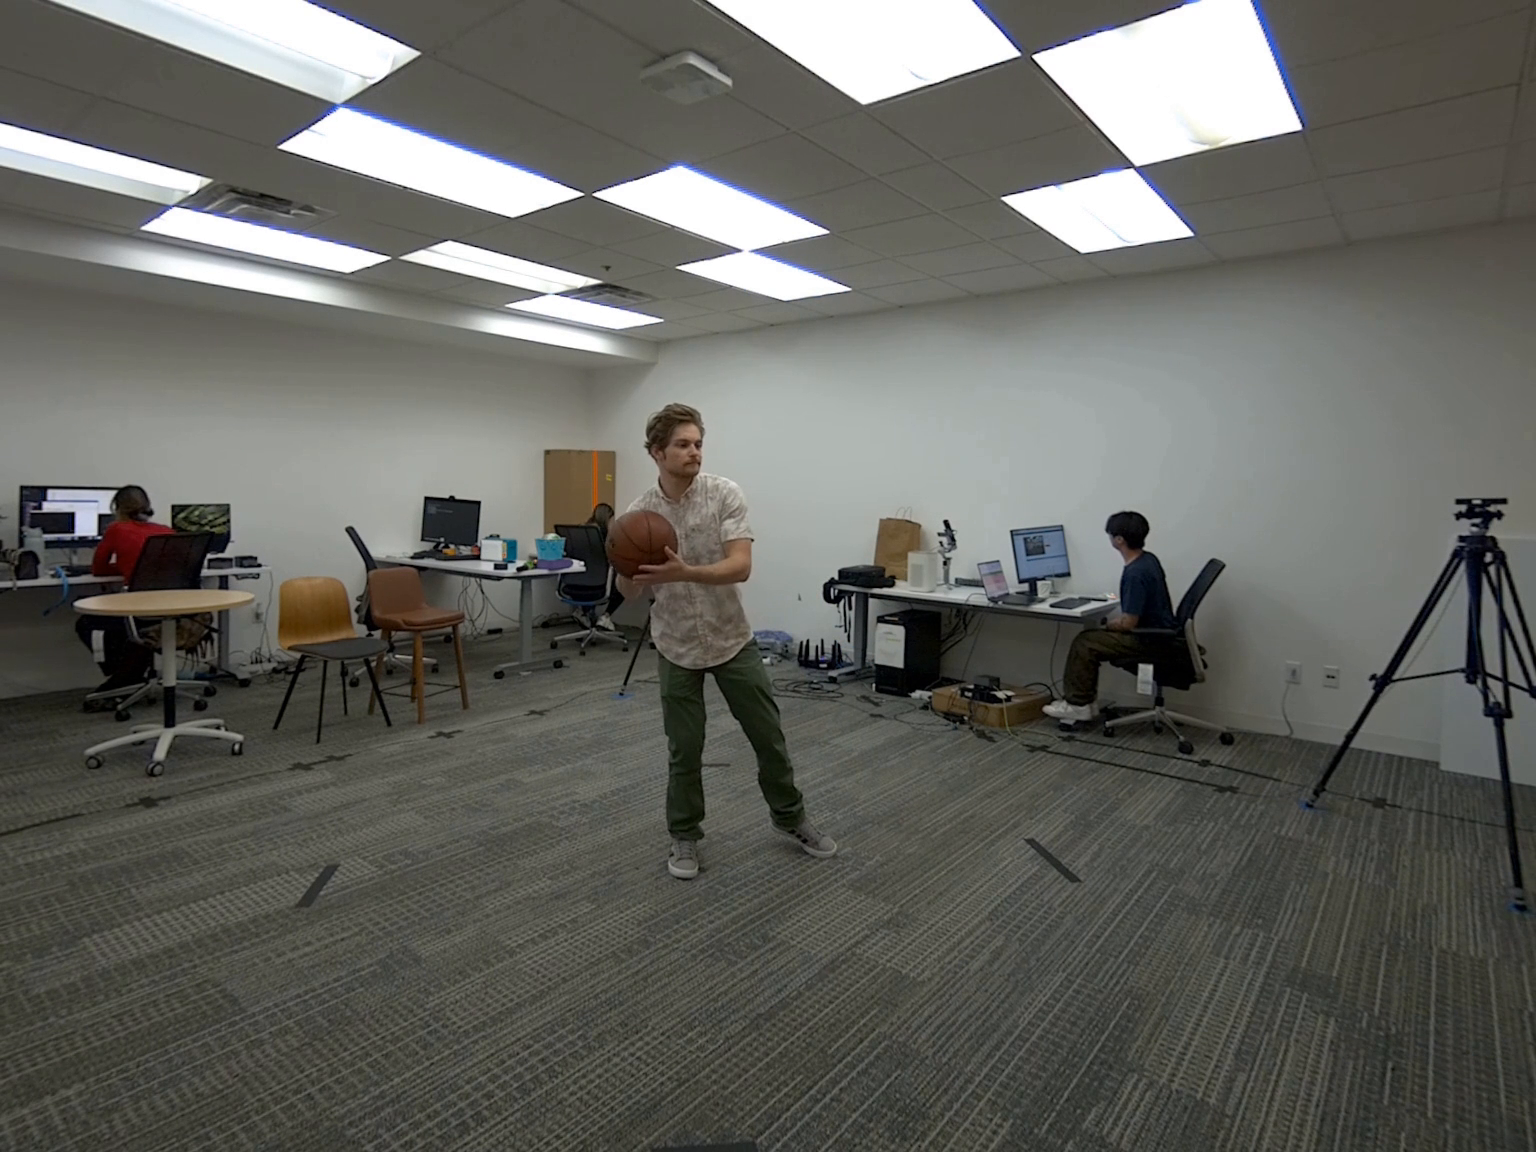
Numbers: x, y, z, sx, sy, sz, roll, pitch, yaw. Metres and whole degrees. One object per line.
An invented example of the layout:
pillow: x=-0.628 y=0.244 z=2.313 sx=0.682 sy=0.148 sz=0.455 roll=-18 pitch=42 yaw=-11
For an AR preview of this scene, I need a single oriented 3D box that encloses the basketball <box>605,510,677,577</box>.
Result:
basketball: x=-0.422 y=-0.094 z=2.815 sx=0.236 sy=0.235 sz=0.237 roll=1 pitch=4 yaw=-2
